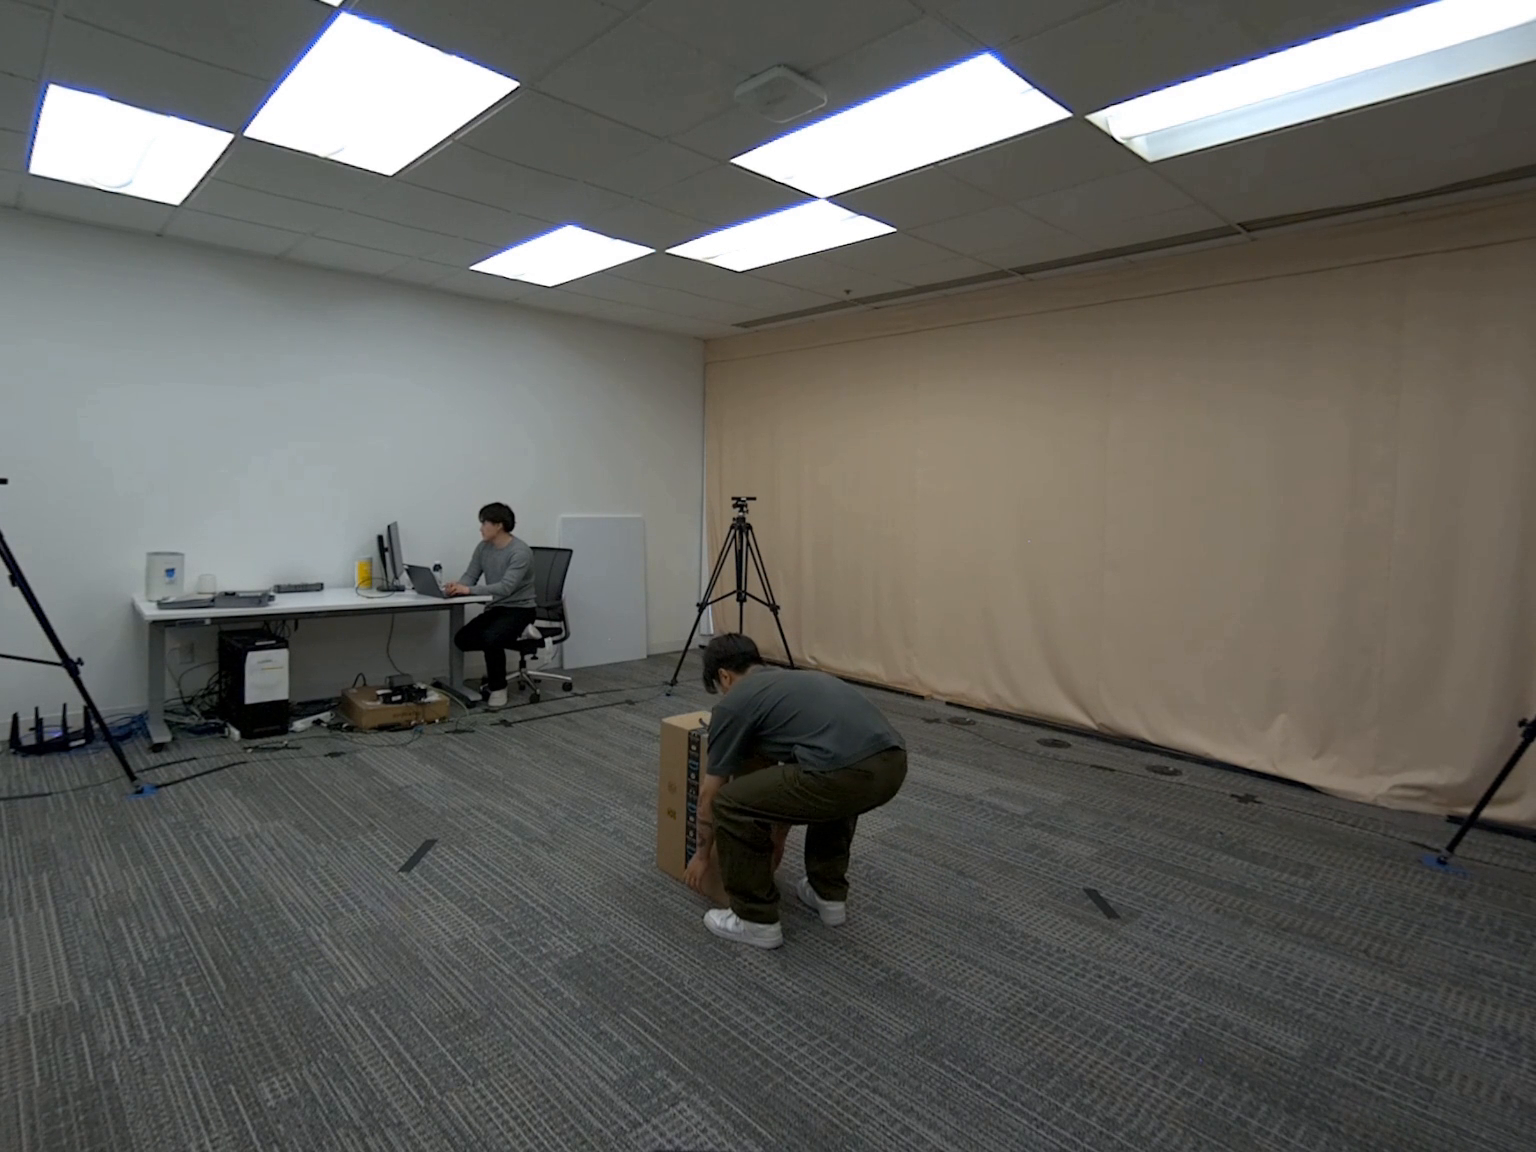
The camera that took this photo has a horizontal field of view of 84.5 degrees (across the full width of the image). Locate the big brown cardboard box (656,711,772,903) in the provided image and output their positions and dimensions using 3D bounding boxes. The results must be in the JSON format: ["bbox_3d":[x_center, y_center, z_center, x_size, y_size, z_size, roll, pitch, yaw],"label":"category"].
[{"bbox_3d":[-0.196,0.825,3.061,0.228,0.587,0.428,-1,6,-42],"label":"big brown cardboard box"}]
